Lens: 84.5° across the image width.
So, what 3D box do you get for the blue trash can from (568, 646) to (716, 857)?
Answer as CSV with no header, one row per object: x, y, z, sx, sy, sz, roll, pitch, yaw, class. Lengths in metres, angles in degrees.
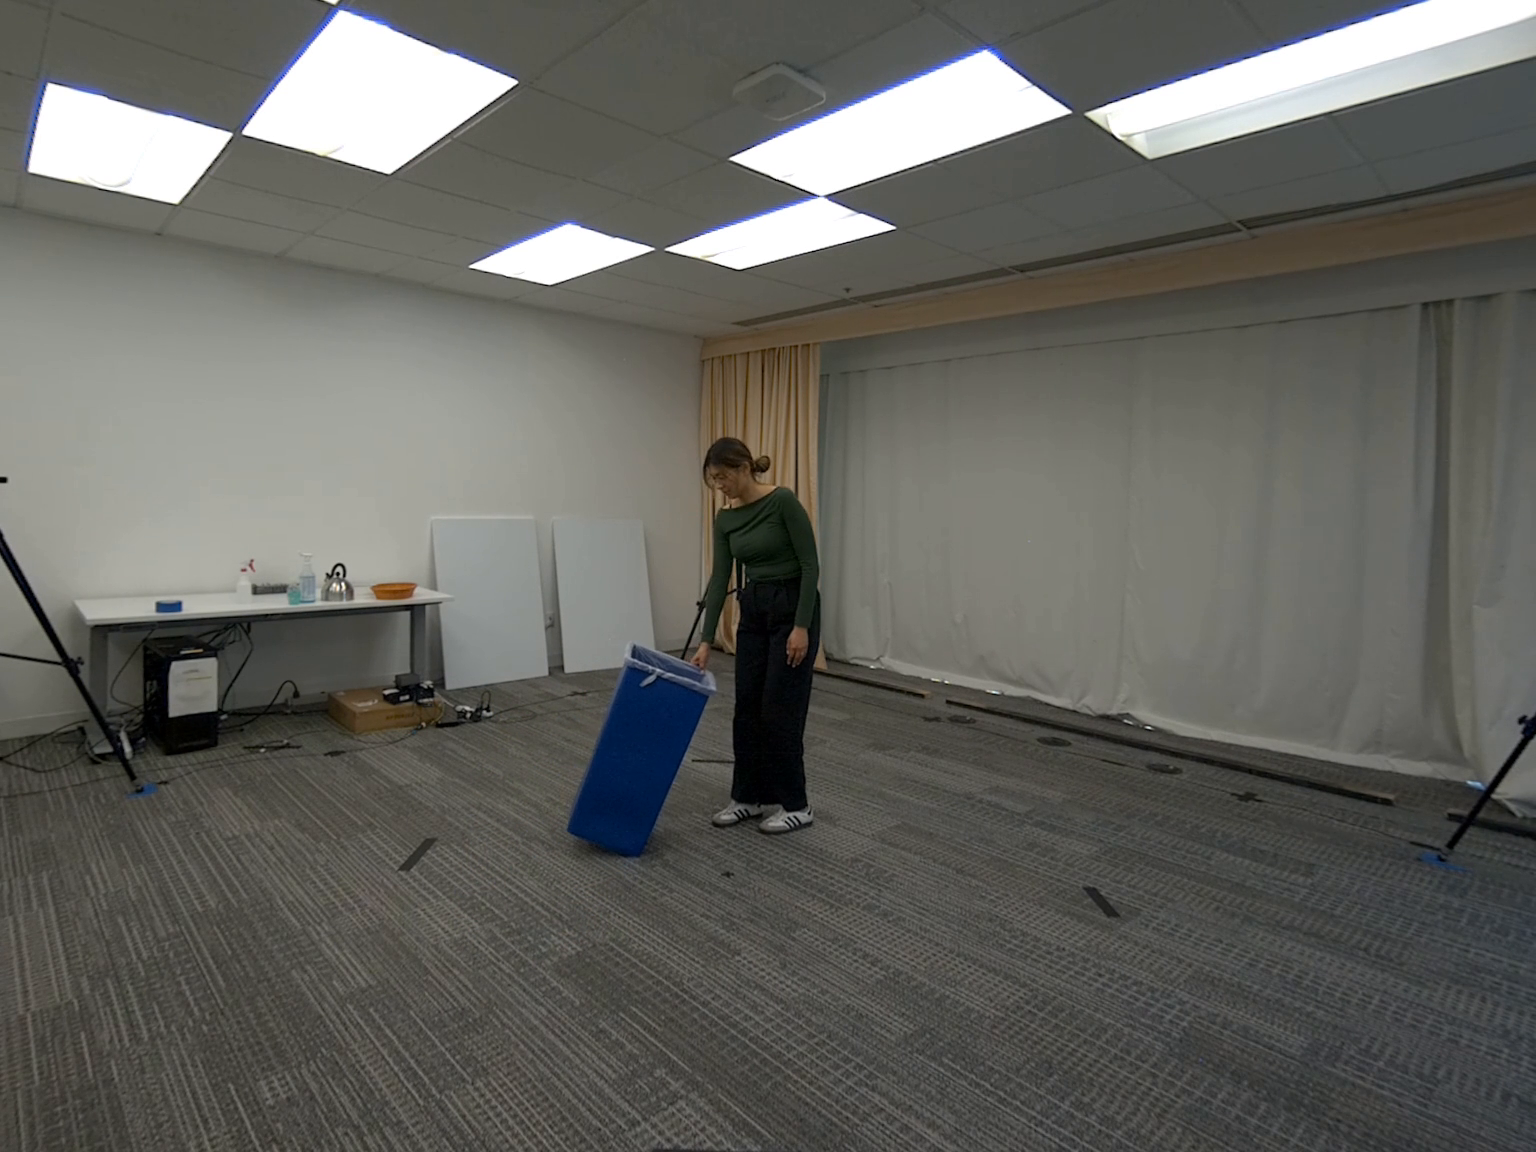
-0.526,0.683,3.345,0.371,0.713,0.381,22,1,-8,blue trash can
